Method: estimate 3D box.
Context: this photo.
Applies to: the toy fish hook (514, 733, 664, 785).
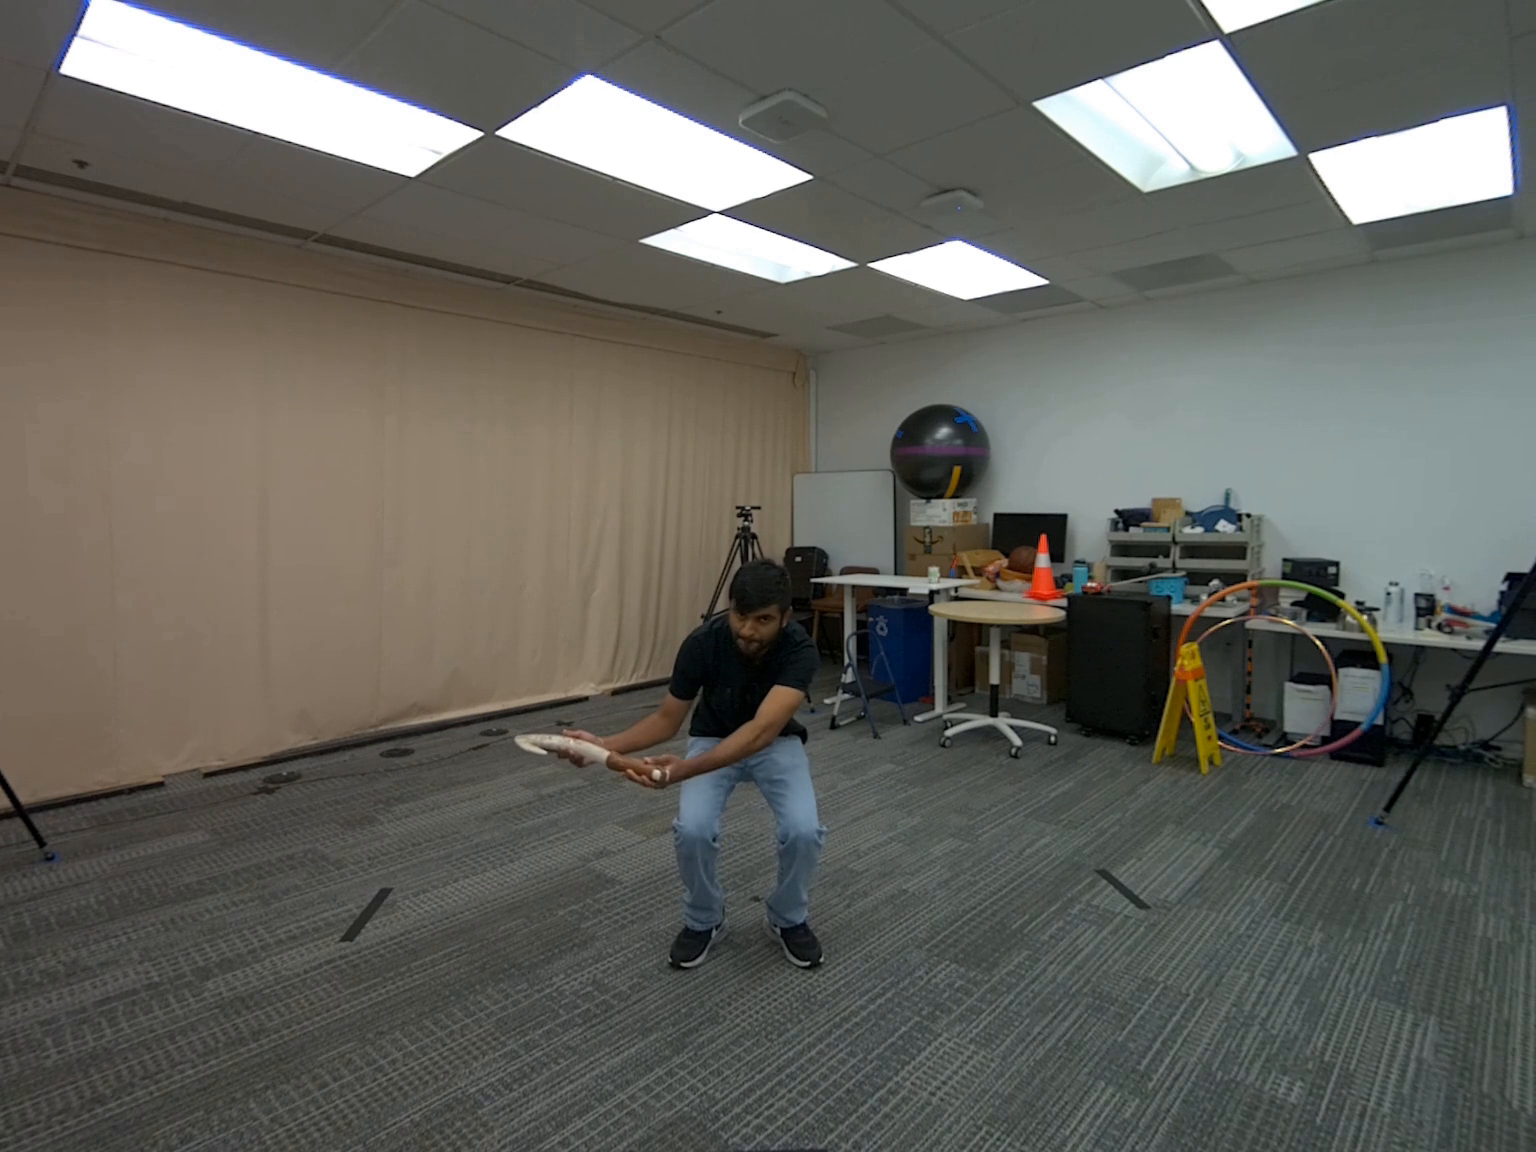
[{"bbox_3d":[-0.461,0.479,2.193,0.523,0.048,0.217,3,-4,43],"label":"toy fish hook"}]
